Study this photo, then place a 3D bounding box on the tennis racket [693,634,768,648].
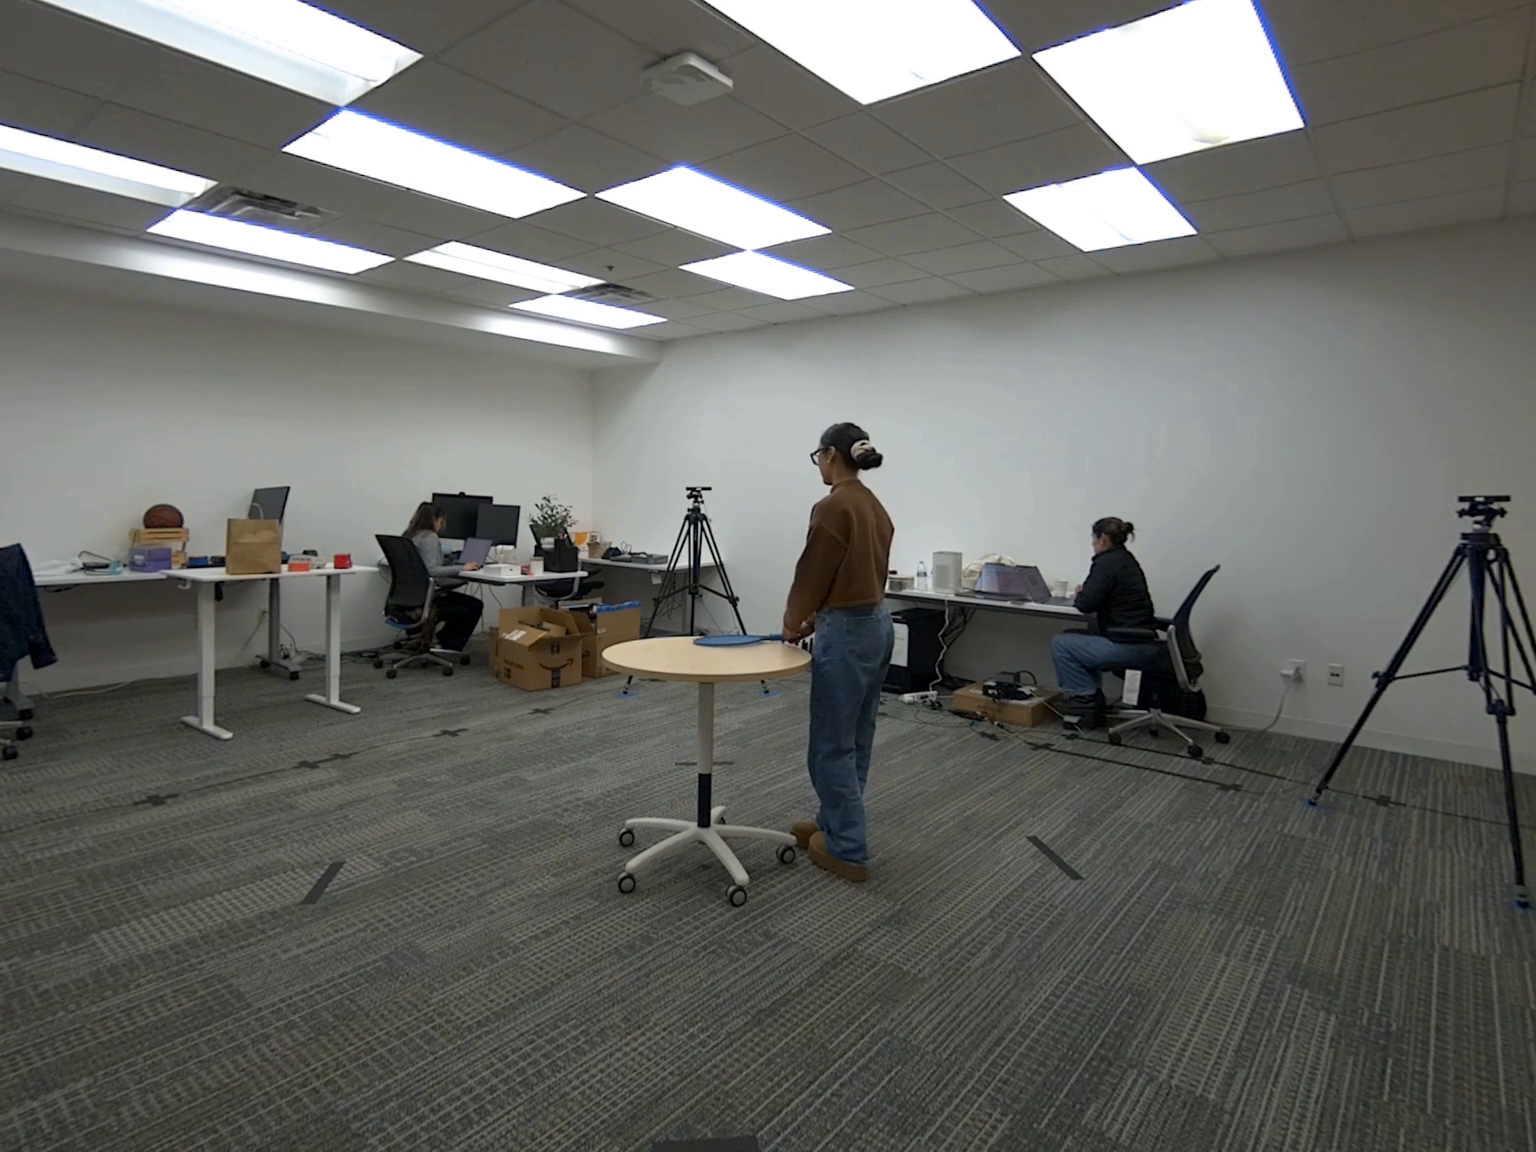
[{"bbox_3d":[-0.088,0.253,3.380,0.431,0.031,0.216,-2,6,-5],"label":"tennis racket"}]
